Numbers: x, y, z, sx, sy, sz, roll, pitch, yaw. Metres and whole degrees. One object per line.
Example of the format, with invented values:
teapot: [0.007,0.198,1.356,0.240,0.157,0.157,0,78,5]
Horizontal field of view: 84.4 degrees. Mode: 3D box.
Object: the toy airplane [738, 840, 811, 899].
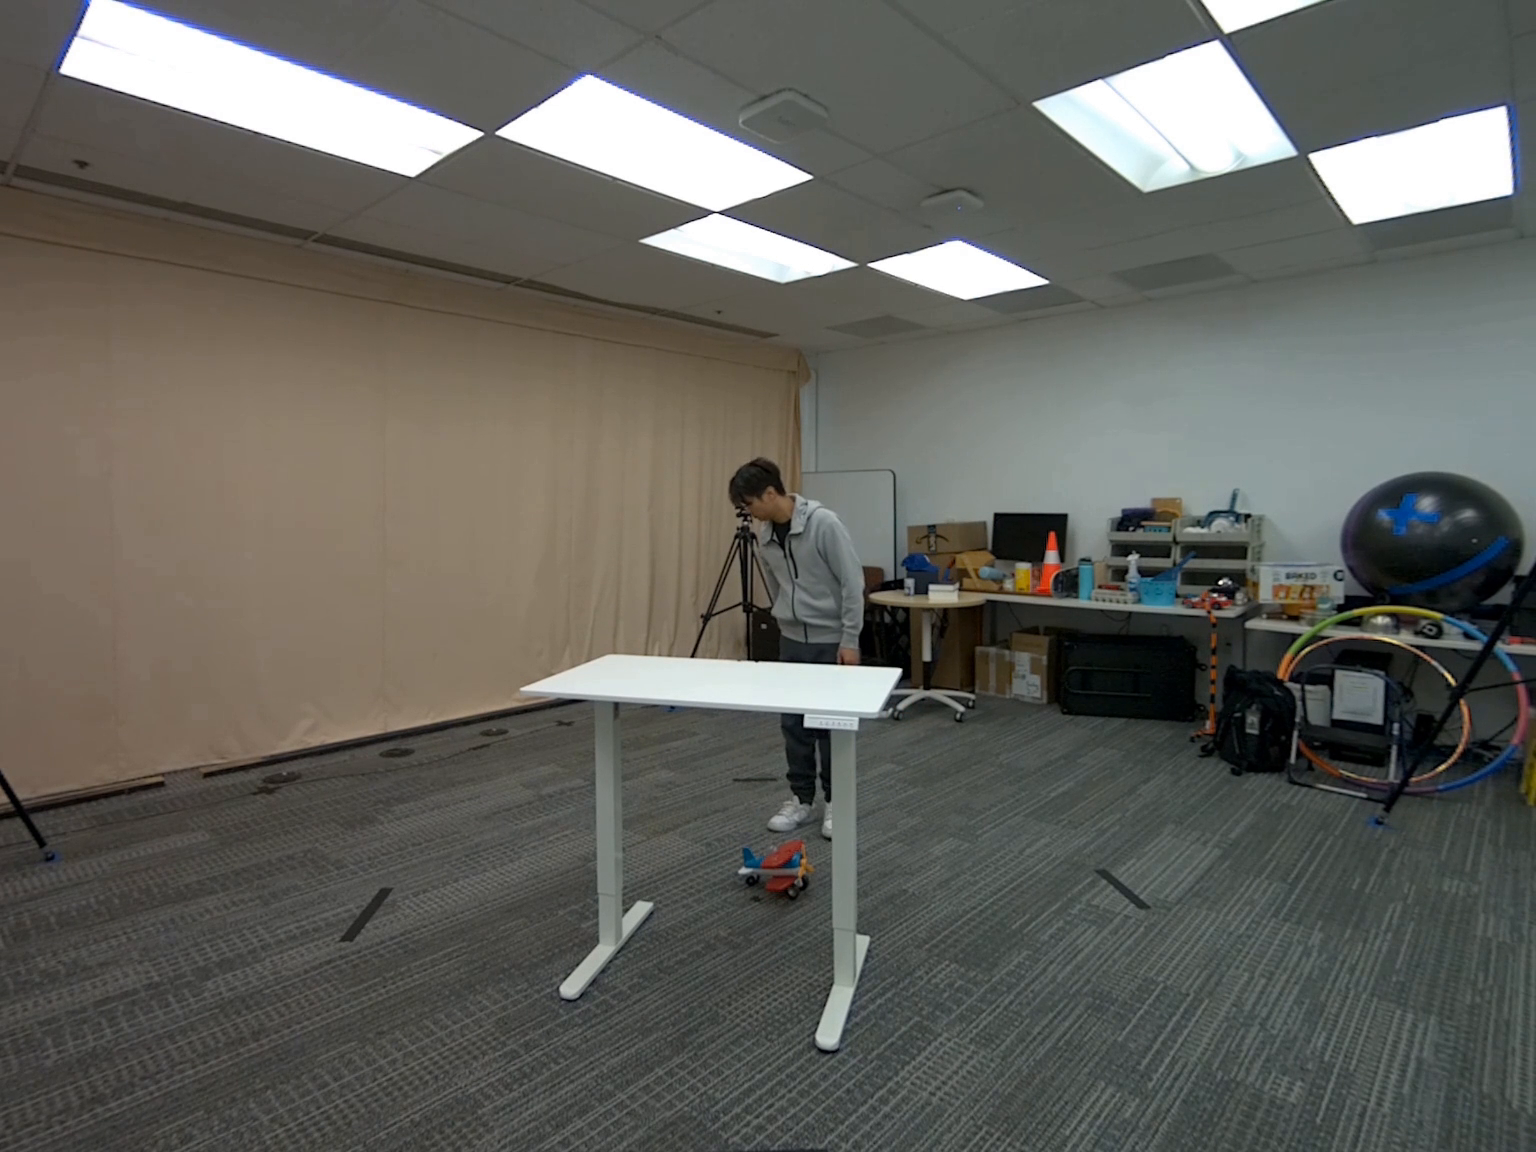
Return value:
toy airplane: [0.020,1.063,3.039,0.259,0.156,0.252,2,5,-2]
